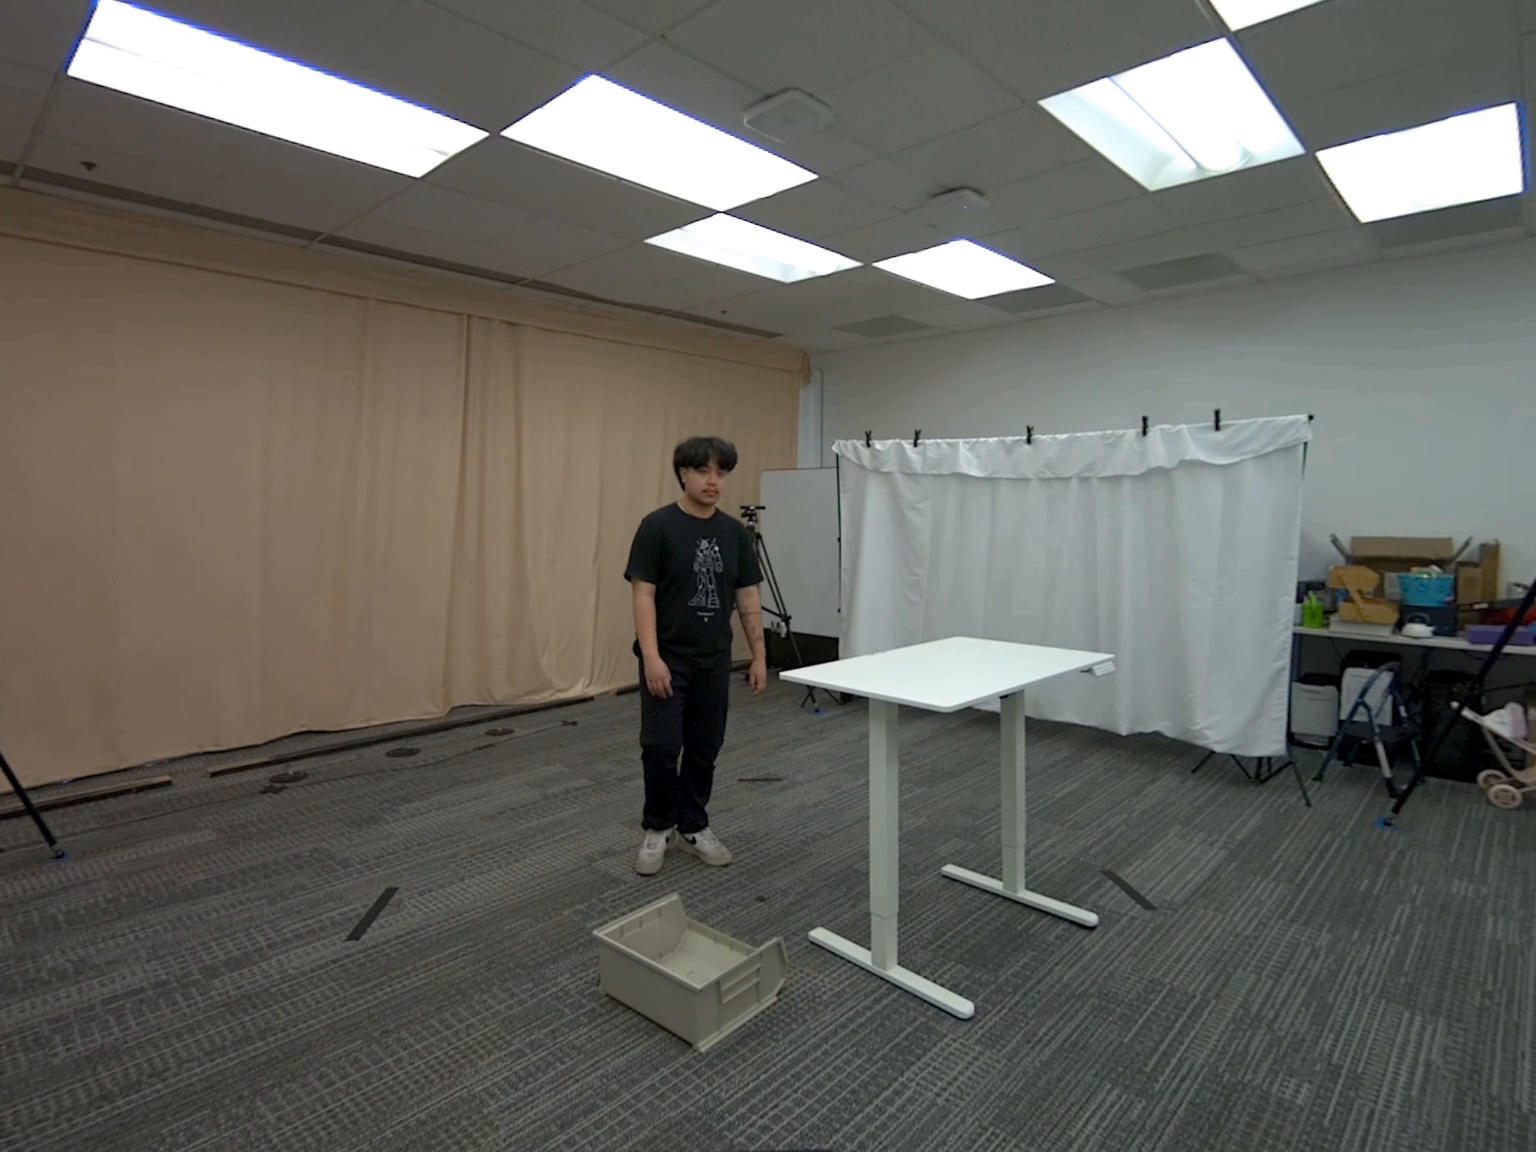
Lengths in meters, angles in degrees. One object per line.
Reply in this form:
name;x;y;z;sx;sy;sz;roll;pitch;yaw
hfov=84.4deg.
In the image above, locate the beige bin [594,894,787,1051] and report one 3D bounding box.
beige bin;-0.219;1.107;2.400;0.436;0.188;0.366;5;7;40
